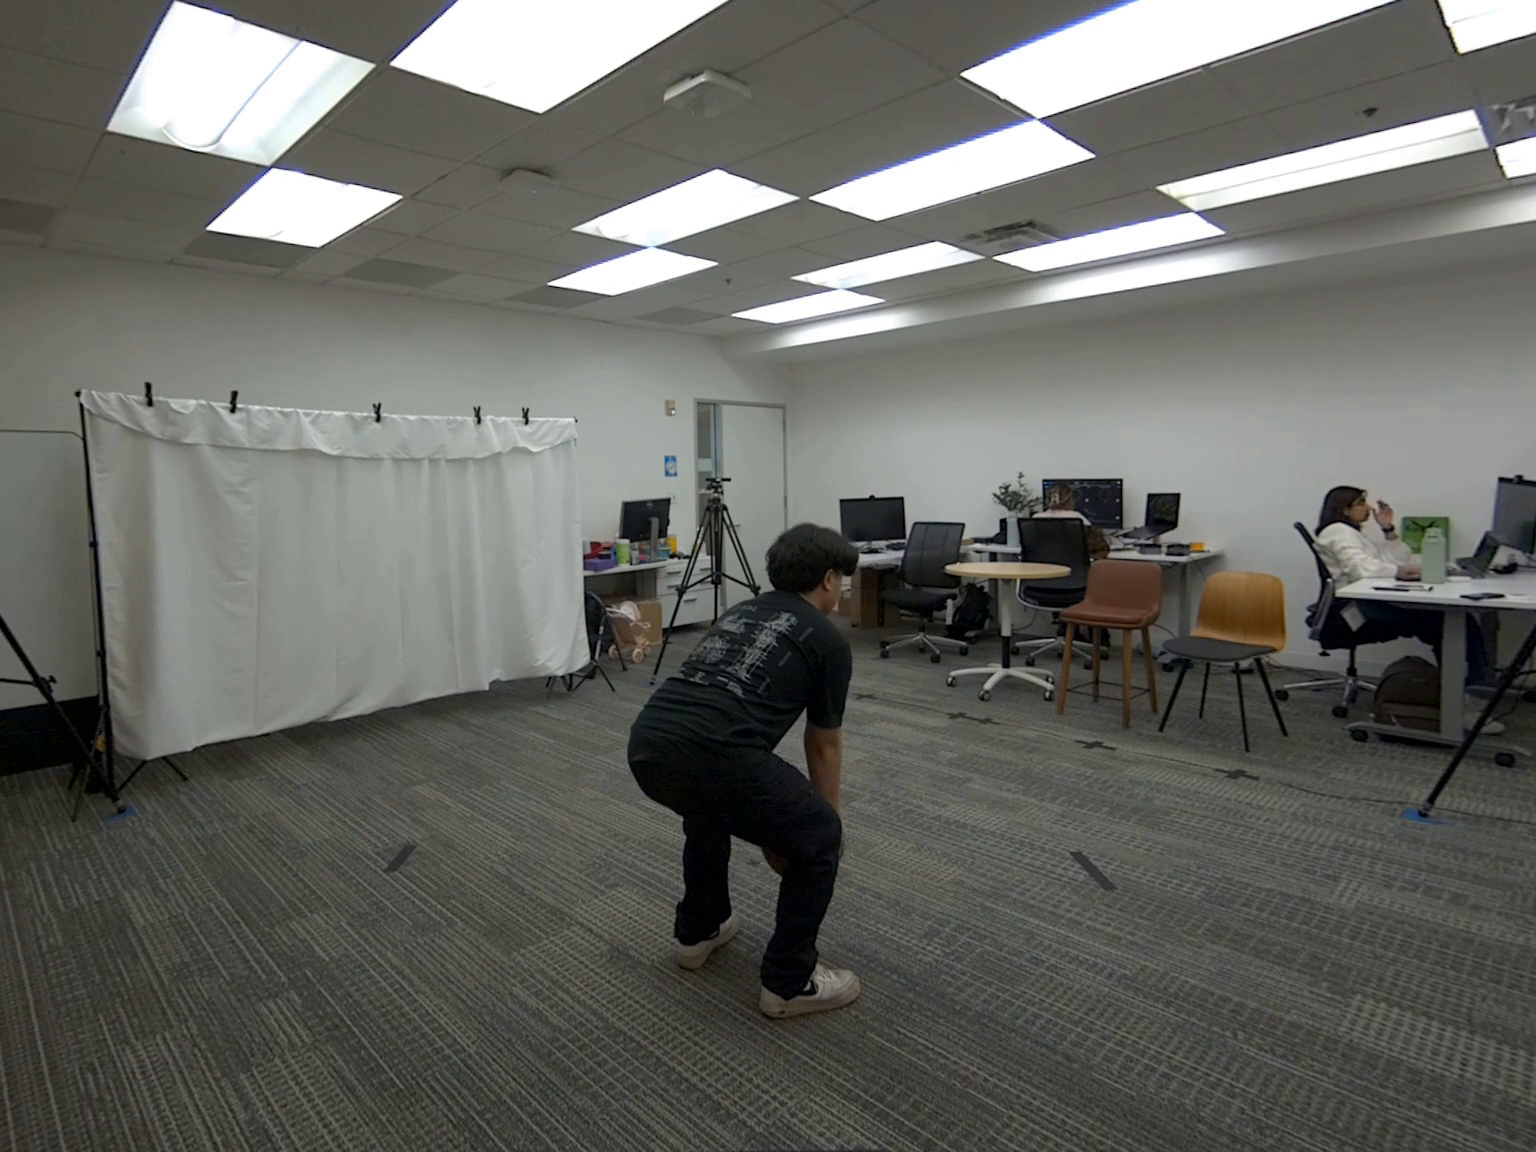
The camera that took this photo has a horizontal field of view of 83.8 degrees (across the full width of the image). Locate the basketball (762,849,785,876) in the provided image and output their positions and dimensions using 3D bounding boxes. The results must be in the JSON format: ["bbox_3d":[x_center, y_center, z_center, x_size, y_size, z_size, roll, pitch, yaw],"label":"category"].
[{"bbox_3d":[0.108,0.774,2.551,0.236,0.235,0.237,-1,5,-2],"label":"basketball"}]
